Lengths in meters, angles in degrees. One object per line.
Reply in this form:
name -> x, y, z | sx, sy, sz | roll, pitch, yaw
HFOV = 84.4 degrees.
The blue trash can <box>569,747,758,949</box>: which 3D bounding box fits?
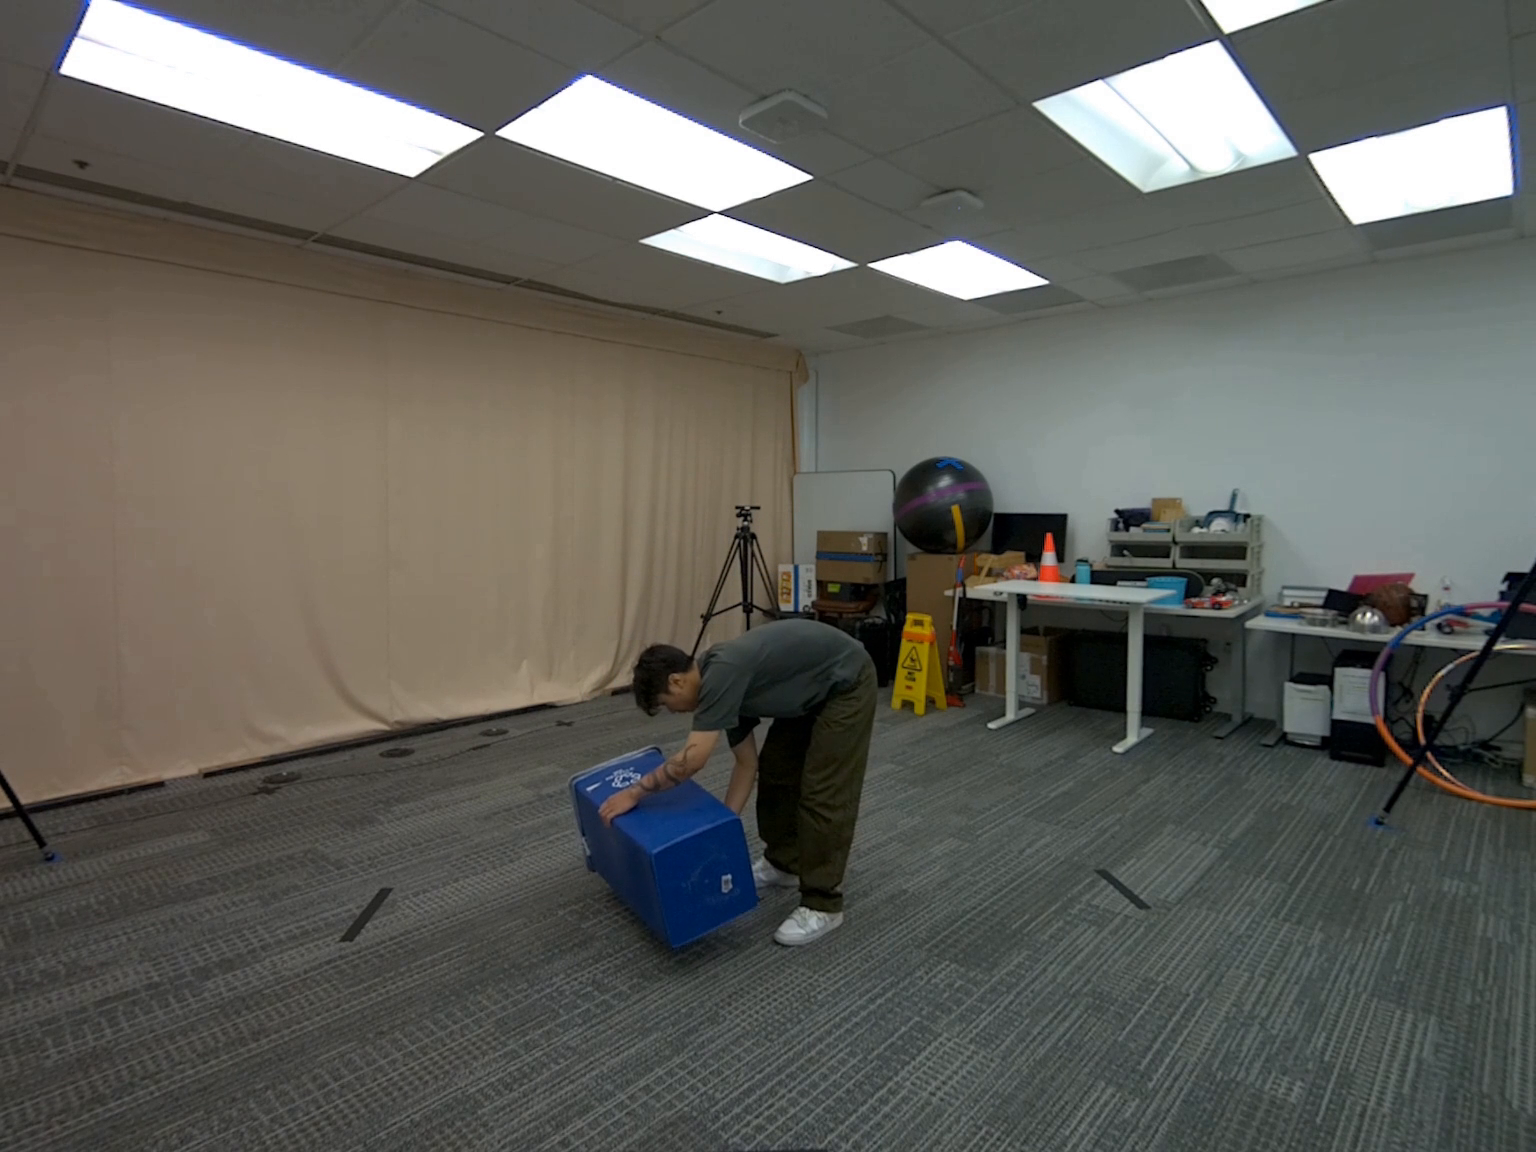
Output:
blue trash can -> -0.359, 0.887, 2.788 | 0.370, 0.371, 0.734 | -15, 11, -26
